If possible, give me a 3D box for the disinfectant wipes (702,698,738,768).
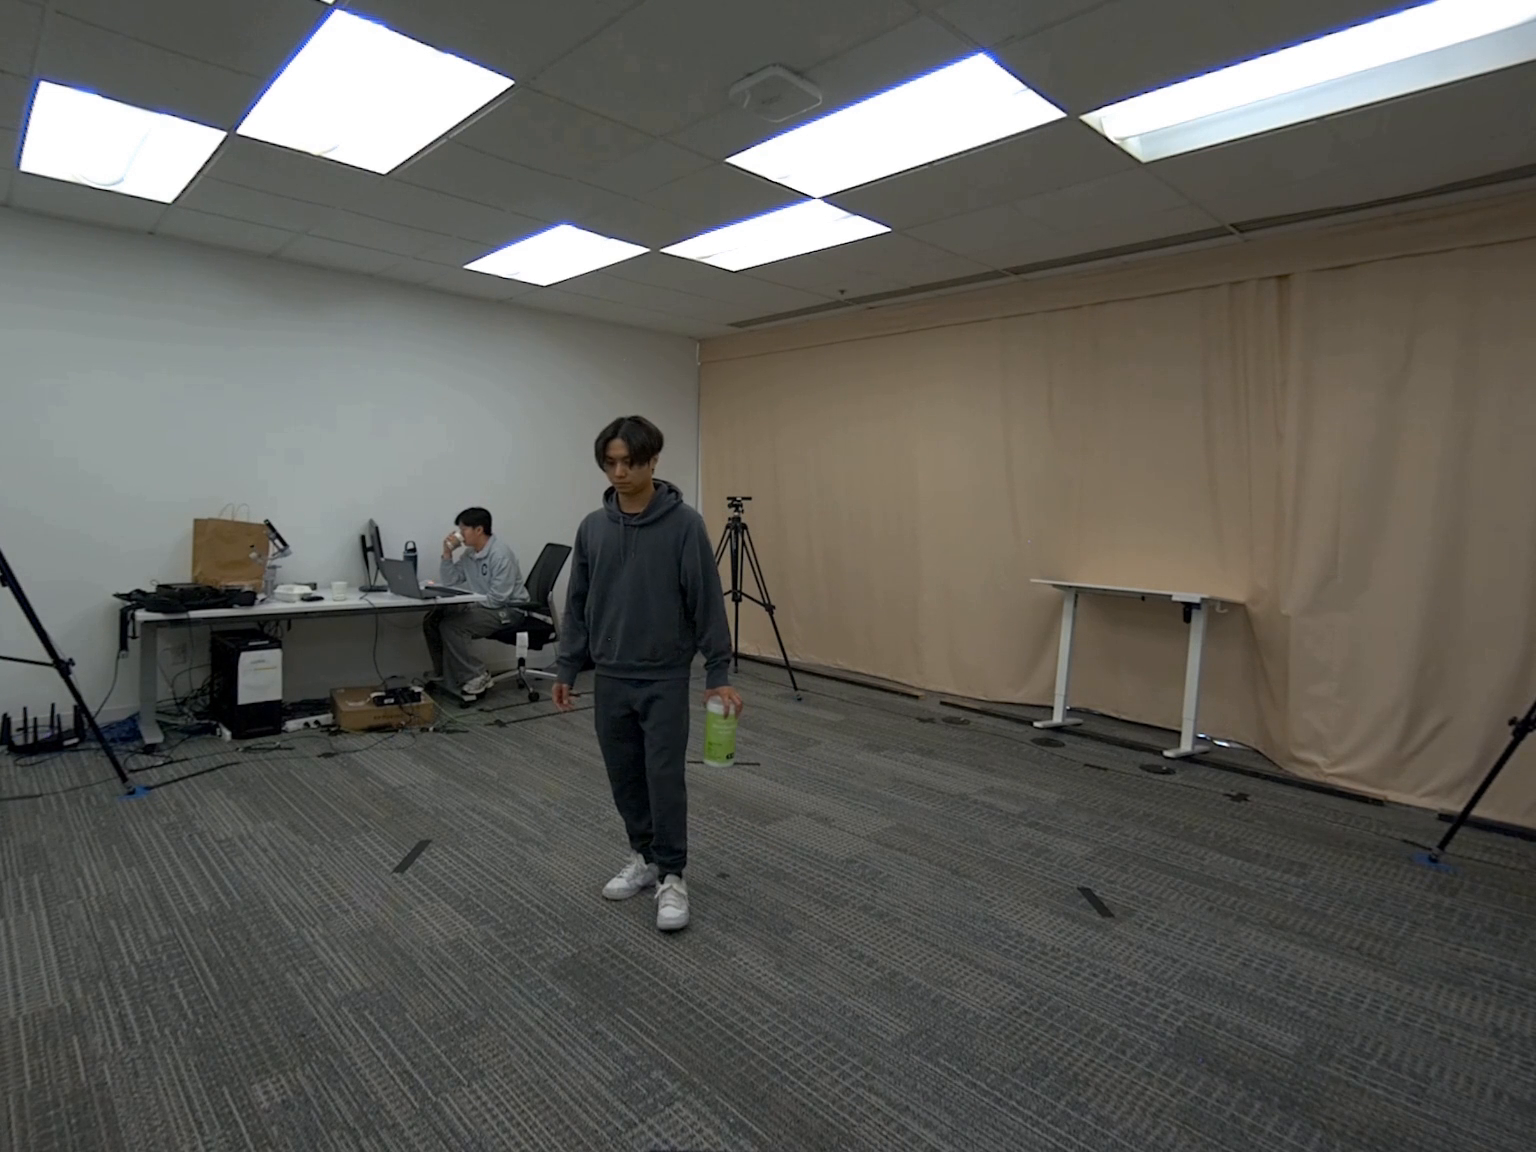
[{"bbox_3d":[-0.178,0.525,2.811,0.117,0.216,0.119,5,11,-2],"label":"disinfectant wipes"}]
